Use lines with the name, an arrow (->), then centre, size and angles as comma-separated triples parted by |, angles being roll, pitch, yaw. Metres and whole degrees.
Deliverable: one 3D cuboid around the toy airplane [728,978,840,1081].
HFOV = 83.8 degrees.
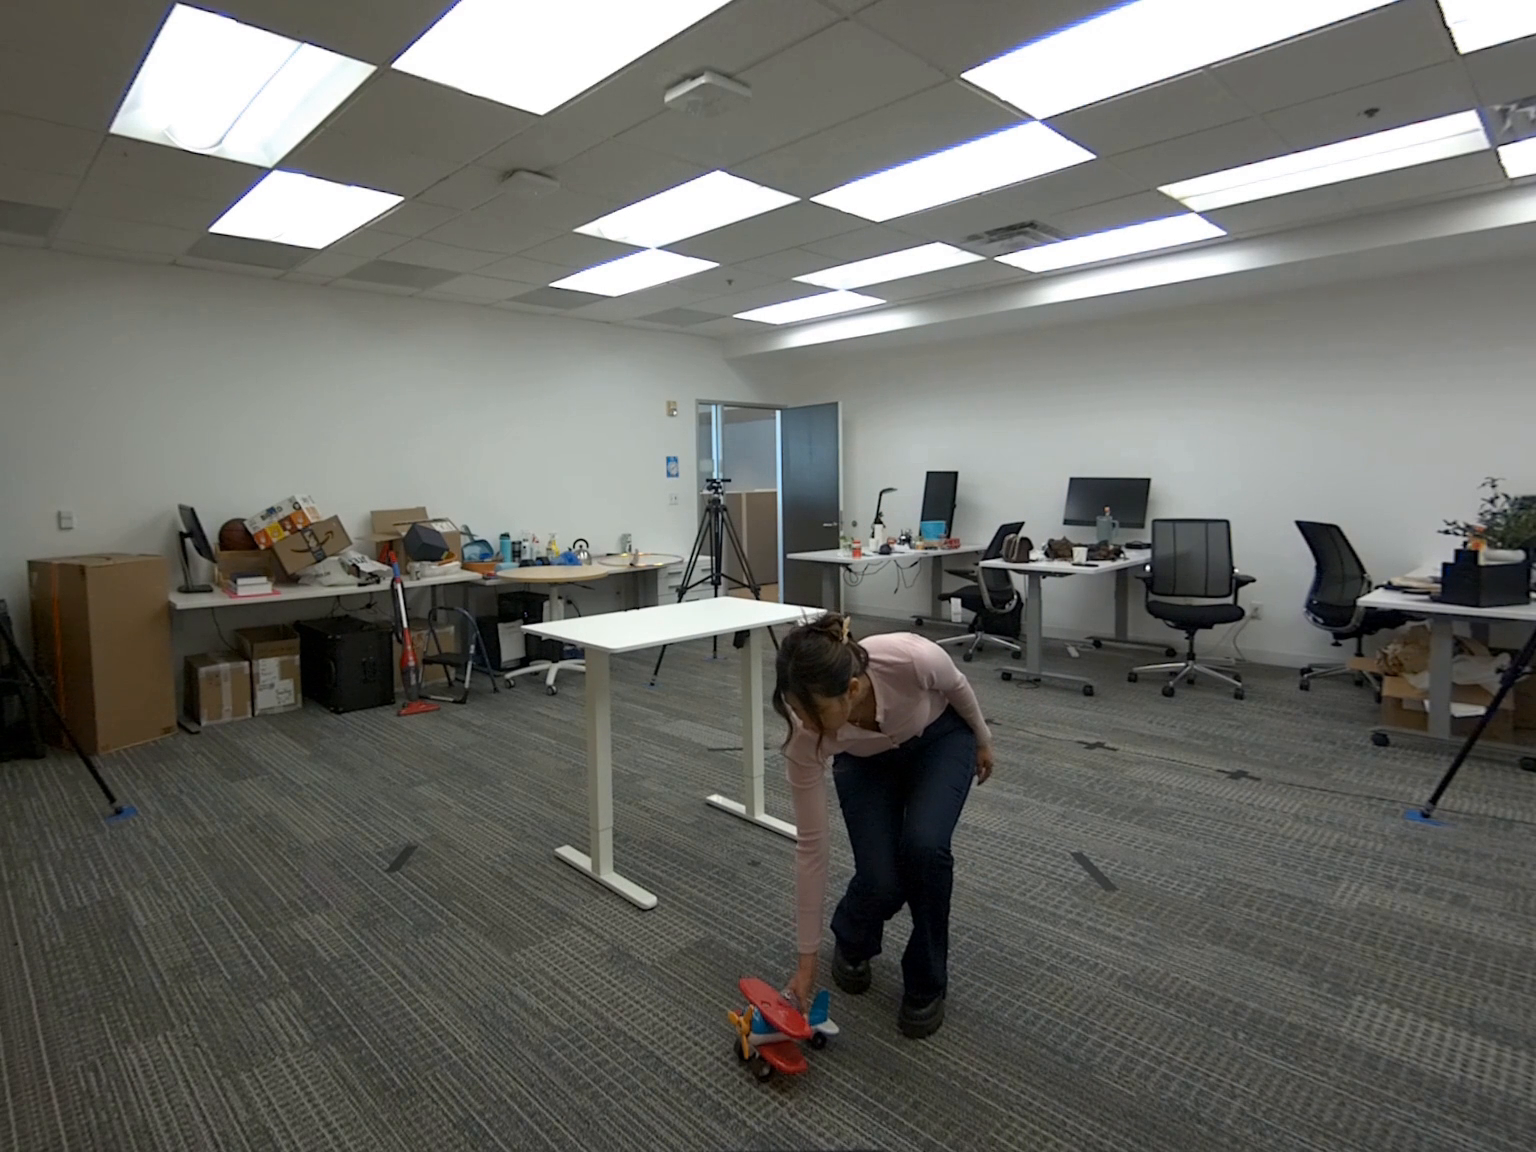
toy airplane -> 0.037, 1.093, 2.076 | 0.258, 0.155, 0.254 | 2, 8, 31
